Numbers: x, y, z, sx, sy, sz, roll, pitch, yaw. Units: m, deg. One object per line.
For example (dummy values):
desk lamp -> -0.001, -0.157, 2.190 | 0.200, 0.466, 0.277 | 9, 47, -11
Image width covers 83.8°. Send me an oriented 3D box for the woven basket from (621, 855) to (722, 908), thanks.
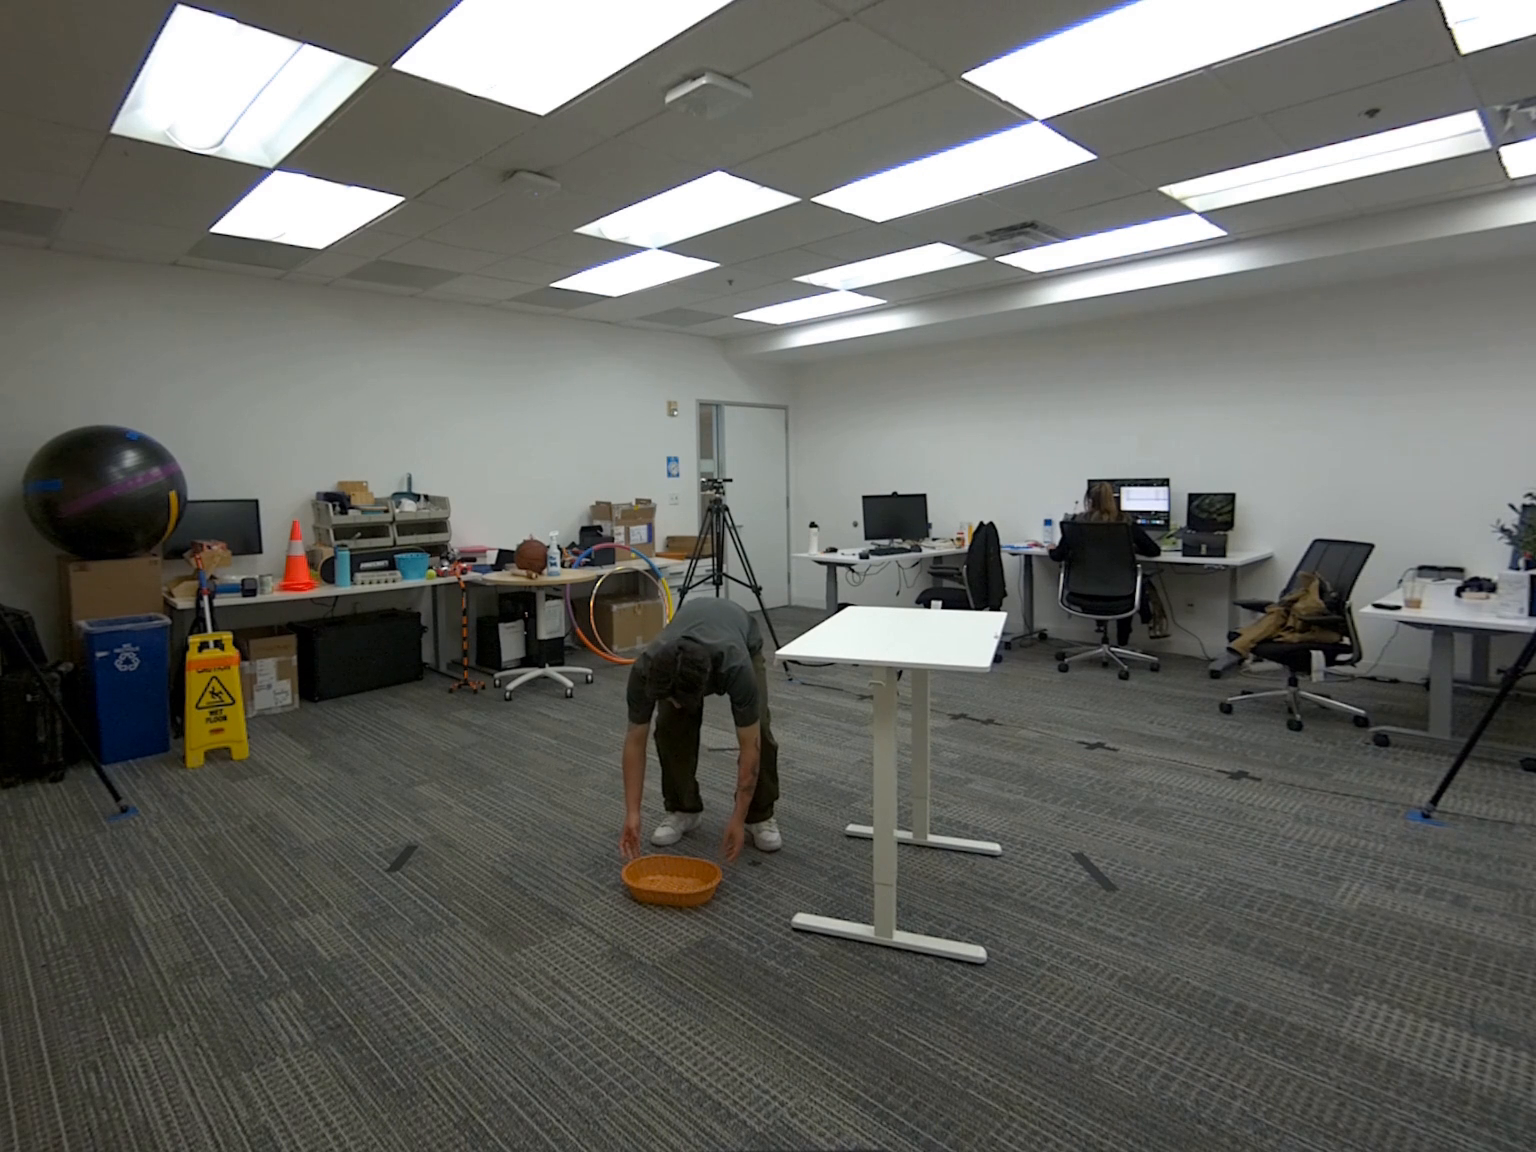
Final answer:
woven basket -> -0.326, 1.034, 2.896 | 0.356, 0.073, 0.250 | 1, 8, 16
